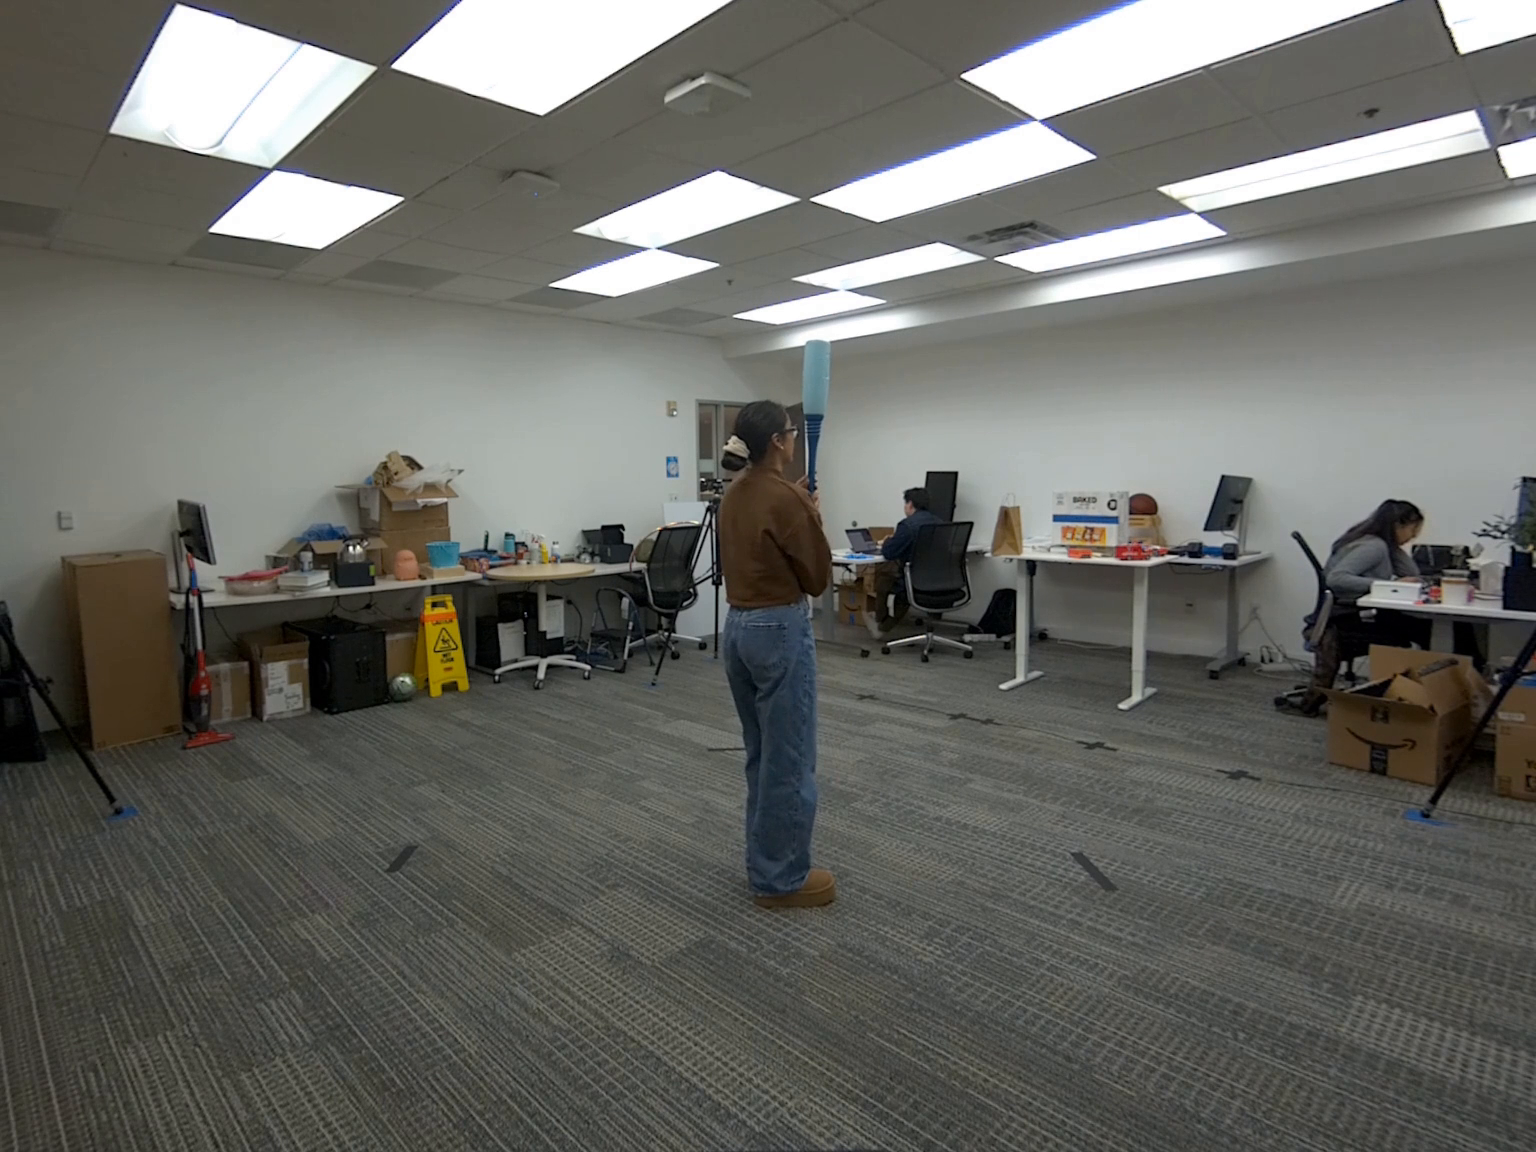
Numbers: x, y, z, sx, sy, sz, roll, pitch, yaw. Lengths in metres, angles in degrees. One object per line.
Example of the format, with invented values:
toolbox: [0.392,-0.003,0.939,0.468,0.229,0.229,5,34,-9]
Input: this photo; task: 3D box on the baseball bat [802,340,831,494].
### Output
baseball bat: [0.164,-0.526,2.880,0.089,0.542,0.089,2,2,-2]
